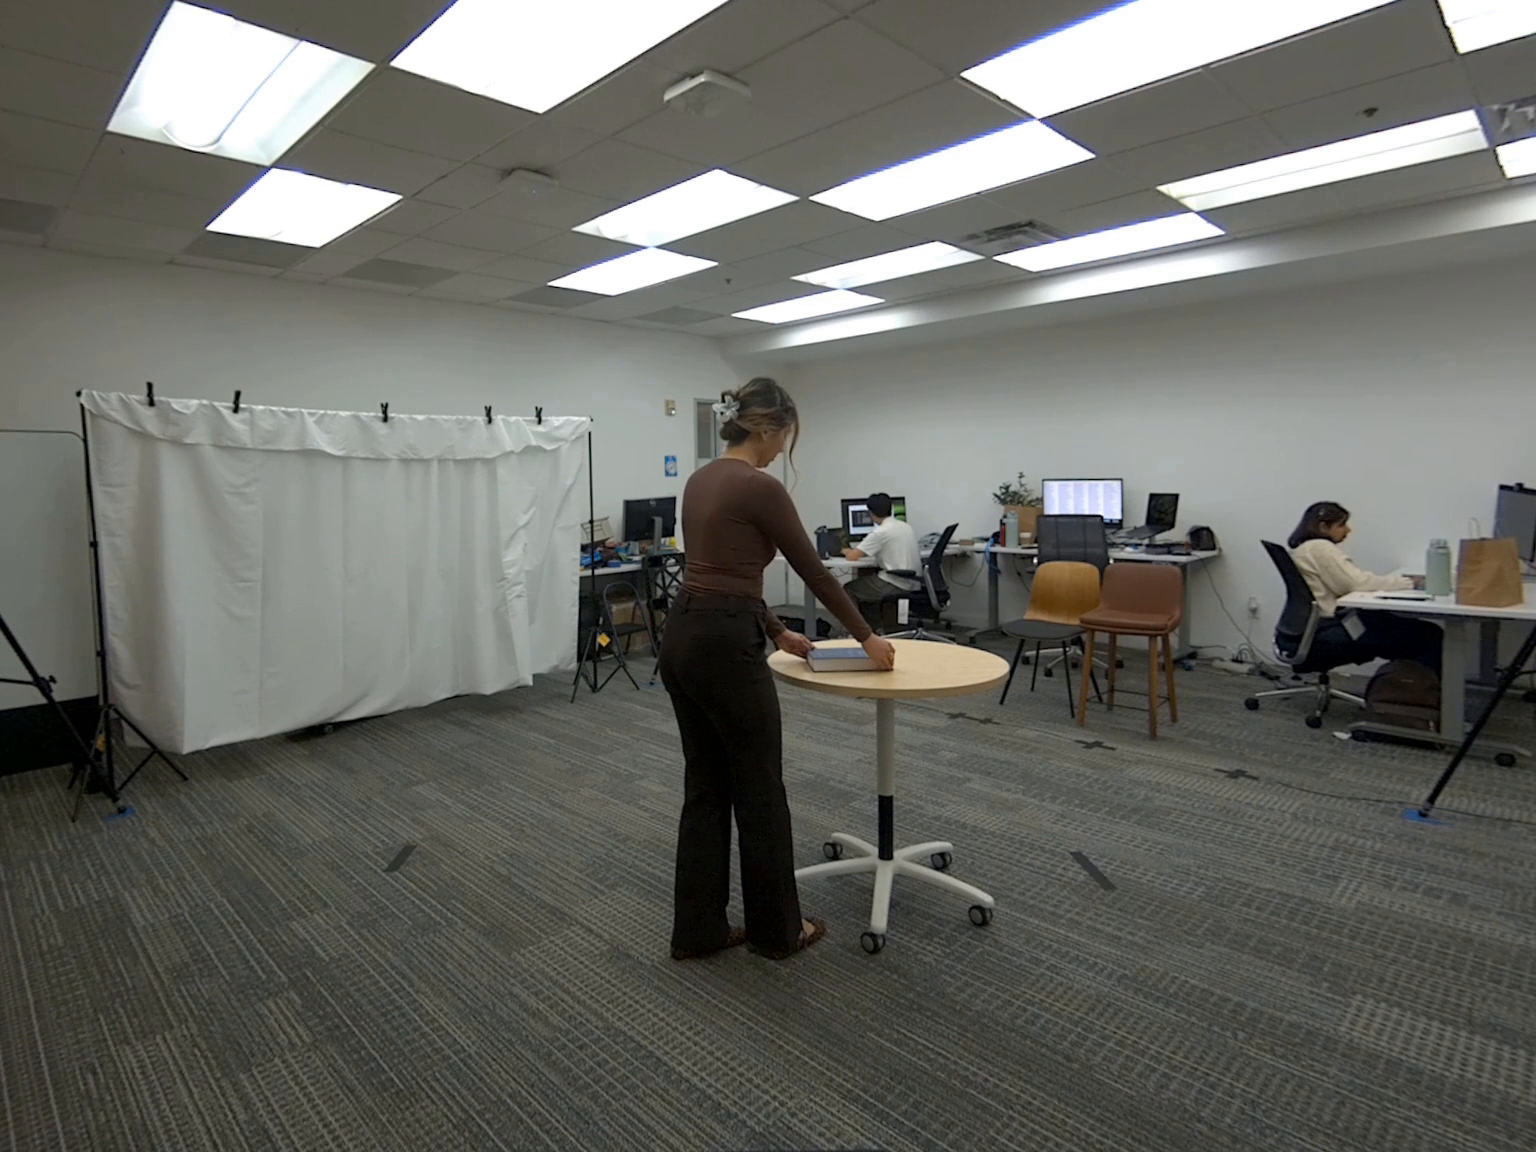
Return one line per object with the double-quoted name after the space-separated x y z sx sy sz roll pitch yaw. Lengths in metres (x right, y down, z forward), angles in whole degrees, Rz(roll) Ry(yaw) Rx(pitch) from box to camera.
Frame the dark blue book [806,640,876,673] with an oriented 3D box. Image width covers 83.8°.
0.249 0.271 2.698 0.245 0.045 0.164 -3 7 -2 "dark blue book"
